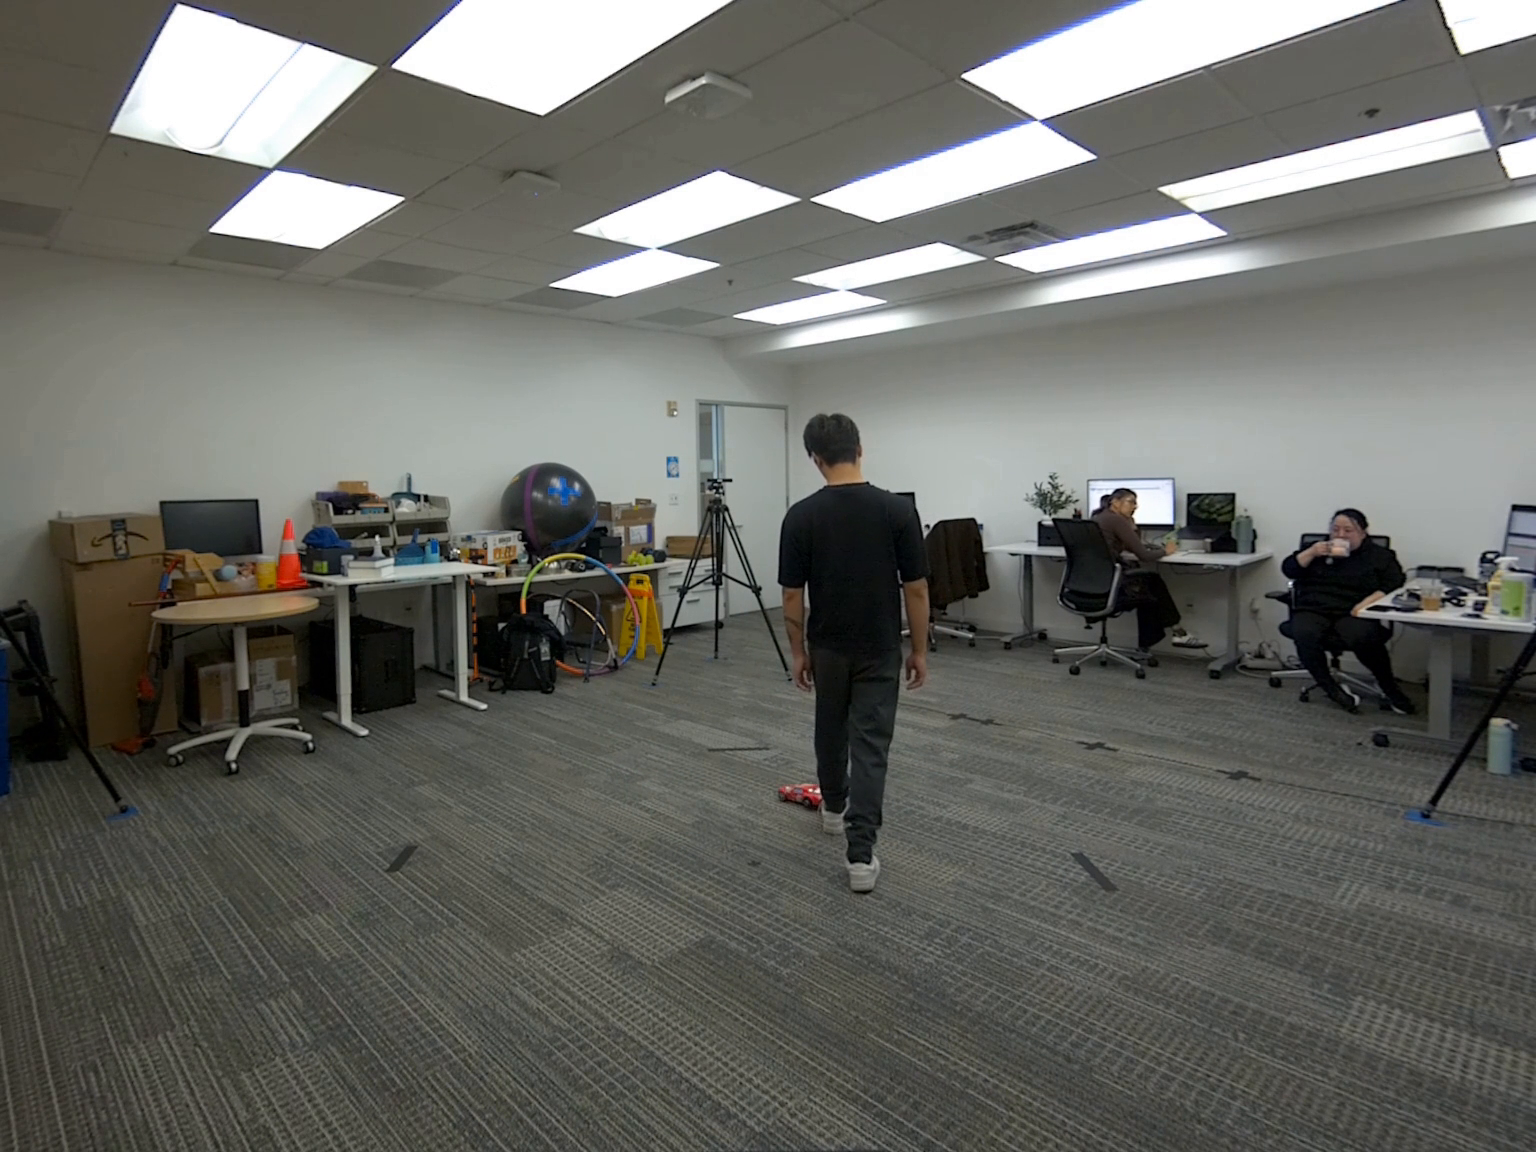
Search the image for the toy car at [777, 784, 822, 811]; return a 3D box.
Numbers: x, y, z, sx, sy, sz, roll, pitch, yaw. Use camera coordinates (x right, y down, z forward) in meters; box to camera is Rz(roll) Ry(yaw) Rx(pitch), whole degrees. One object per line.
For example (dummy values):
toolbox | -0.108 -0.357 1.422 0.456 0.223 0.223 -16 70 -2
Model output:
toy car | 0.170 0.942 3.670 0.127 0.084 0.260 -6 -5 -45
